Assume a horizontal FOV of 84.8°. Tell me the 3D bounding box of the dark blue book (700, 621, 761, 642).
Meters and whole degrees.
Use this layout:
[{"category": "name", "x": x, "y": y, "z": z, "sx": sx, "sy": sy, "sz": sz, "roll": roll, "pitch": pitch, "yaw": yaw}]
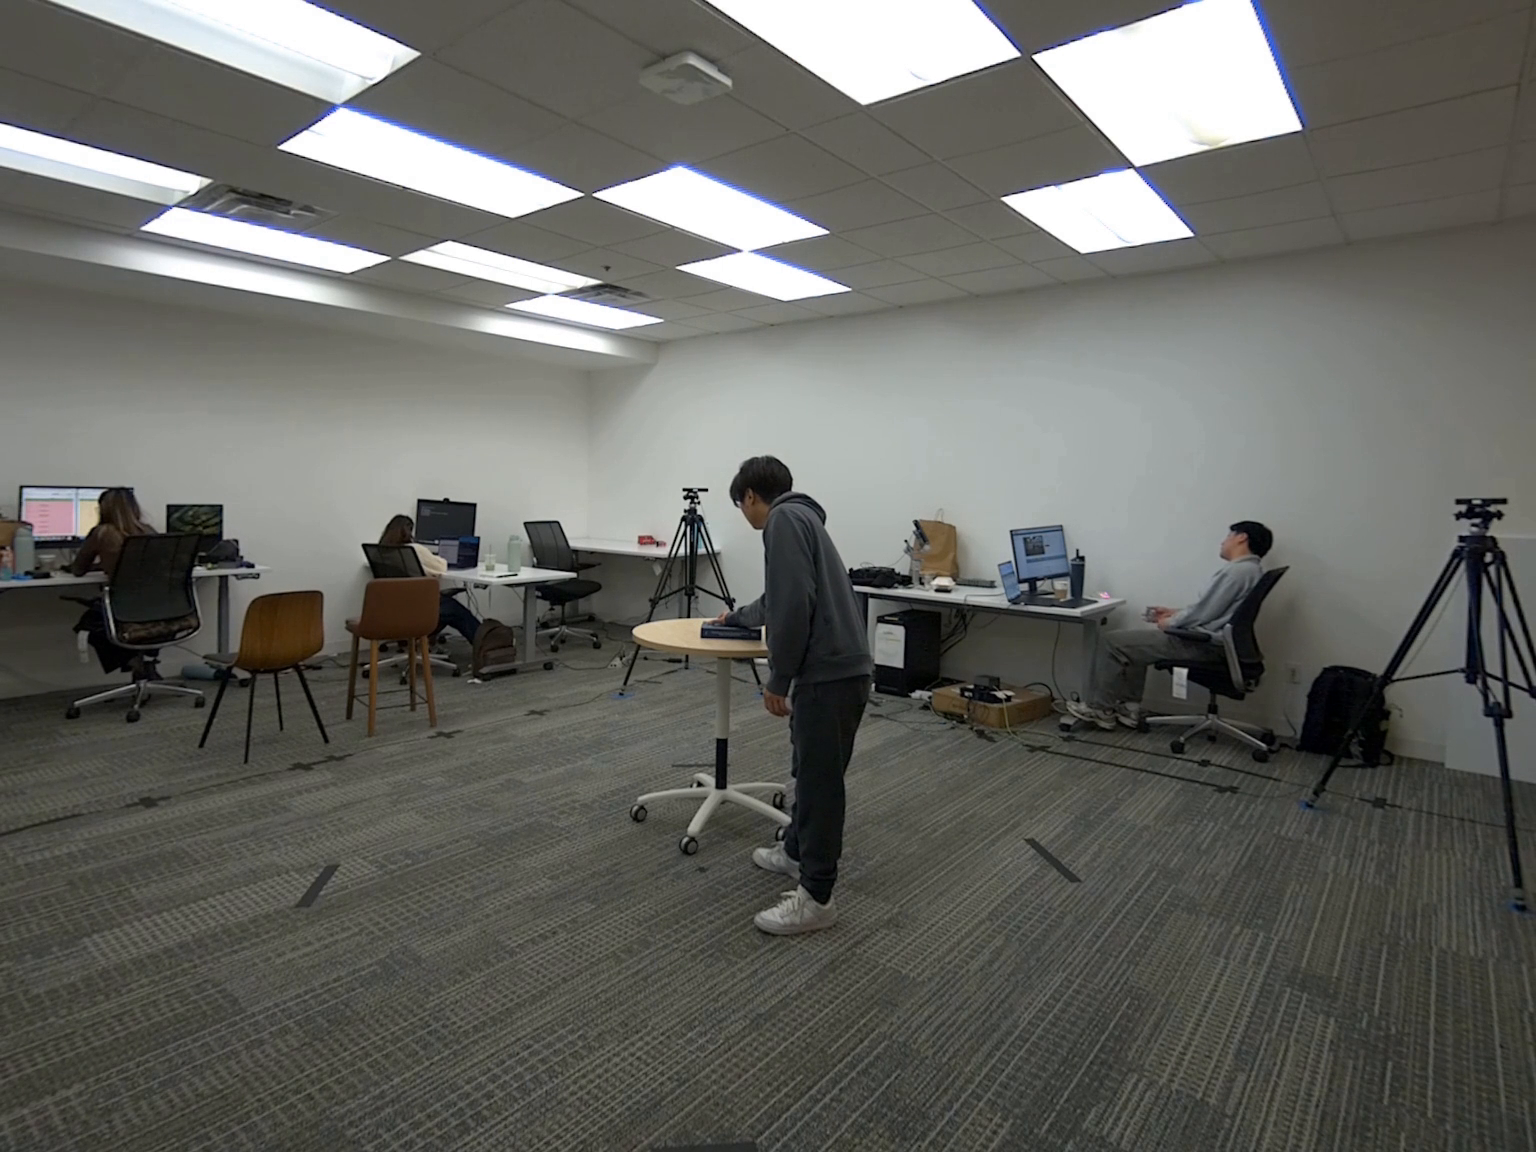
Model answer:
[{"category": "dark blue book", "x": -0.160, "y": 0.222, "z": 3.453, "sx": 0.245, "sy": 0.045, "sz": 0.164, "roll": 2, "pitch": 4, "yaw": 1}]
